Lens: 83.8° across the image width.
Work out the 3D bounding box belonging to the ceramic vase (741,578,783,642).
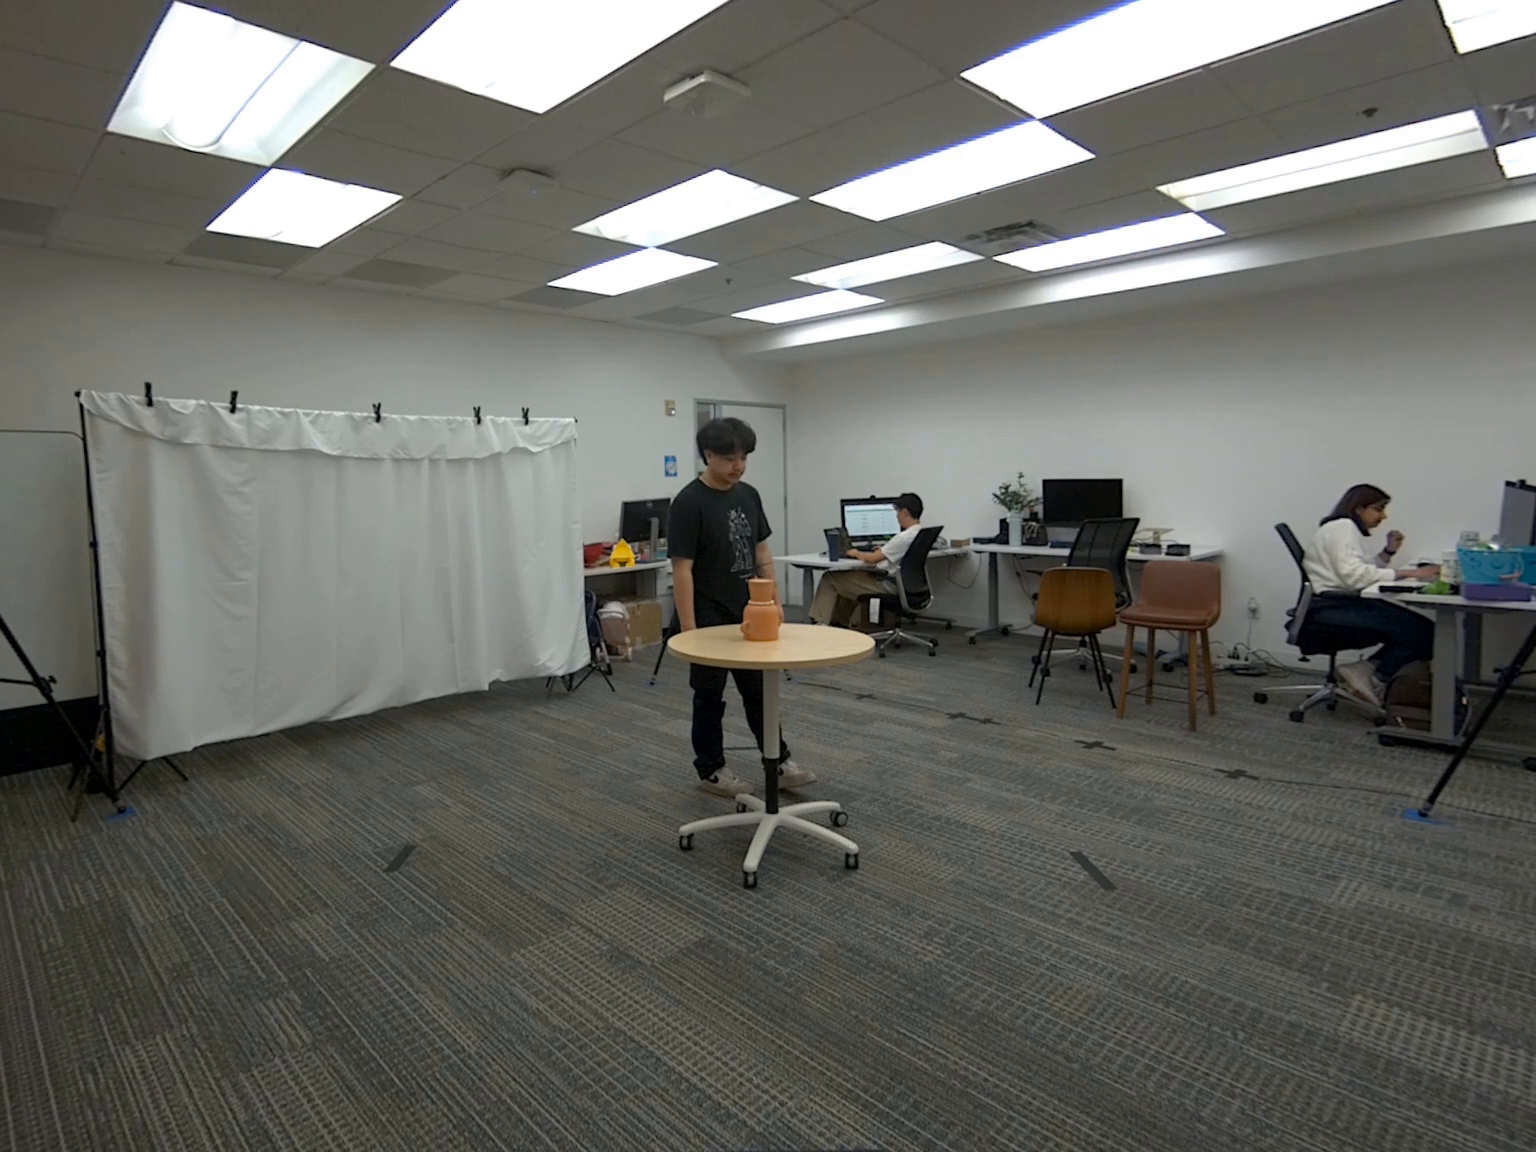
[{"bbox_3d":[-0.032,0.127,3.216,0.136,0.219,0.158,0,5,8],"label":"ceramic vase"}]
